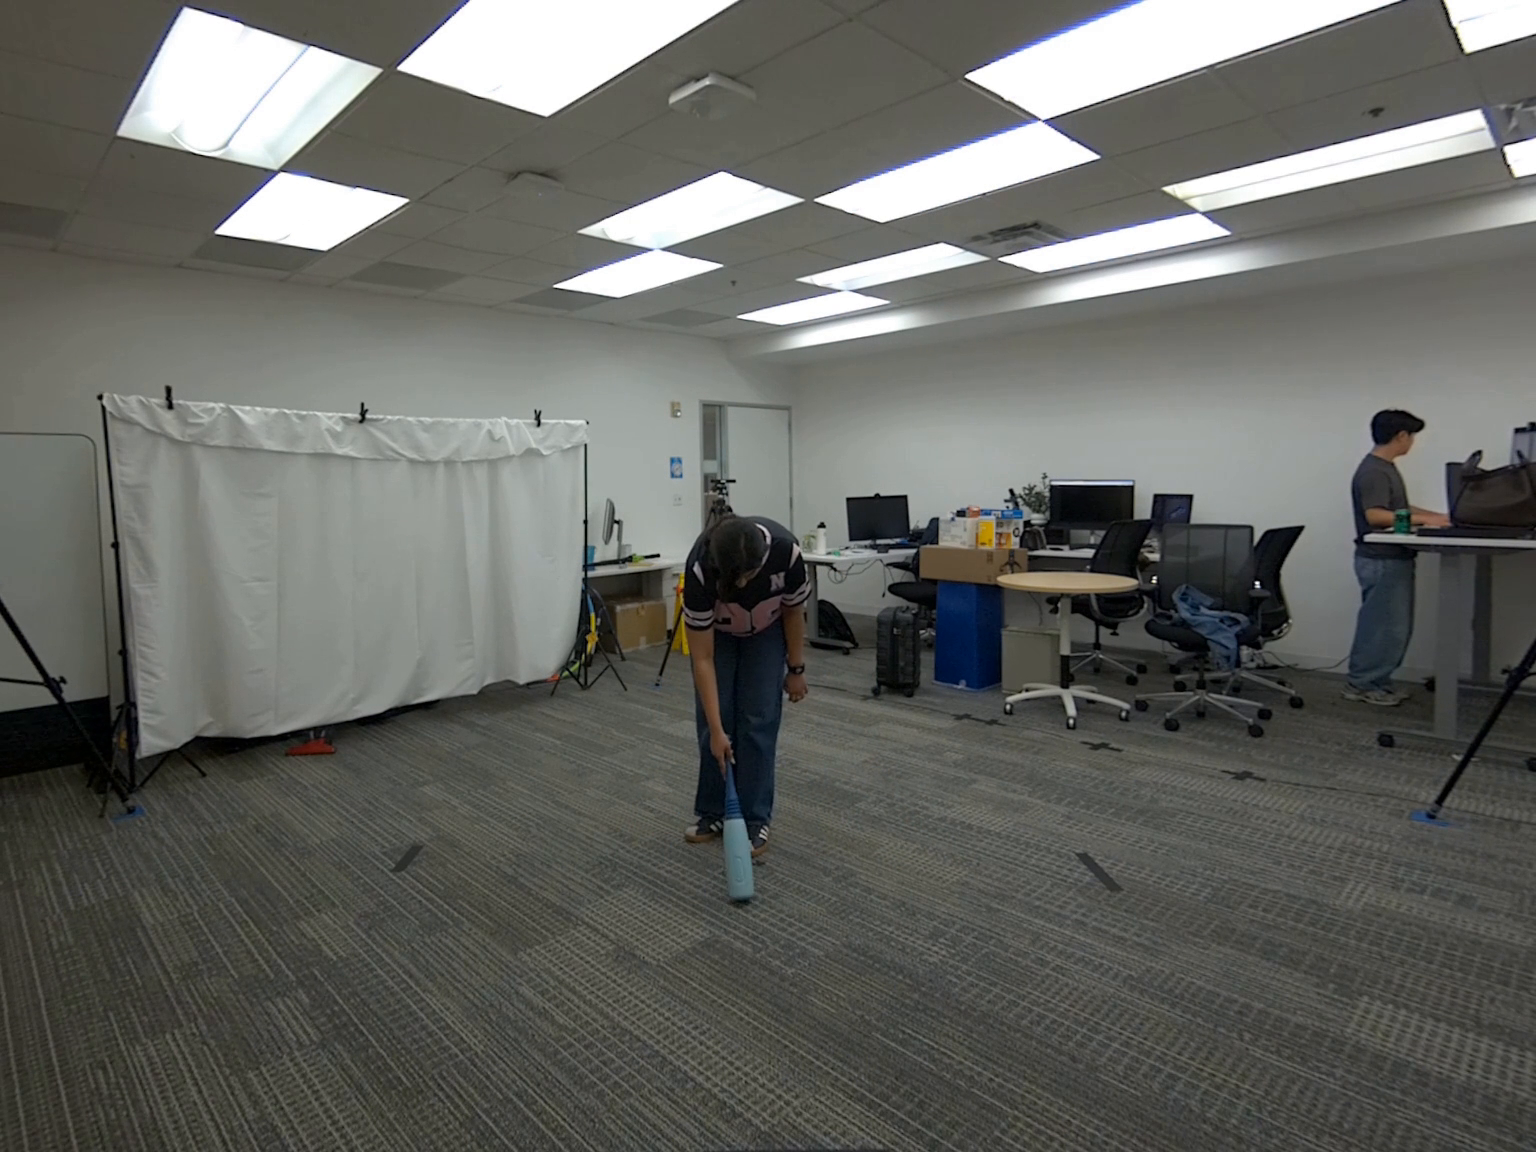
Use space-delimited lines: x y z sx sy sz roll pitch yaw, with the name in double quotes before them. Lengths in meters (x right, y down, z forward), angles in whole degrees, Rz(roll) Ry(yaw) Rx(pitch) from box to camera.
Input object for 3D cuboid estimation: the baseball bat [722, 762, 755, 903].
"baseball bat" -0.133 0.824 2.935 0.089 0.556 0.087 -6 -25 -4
